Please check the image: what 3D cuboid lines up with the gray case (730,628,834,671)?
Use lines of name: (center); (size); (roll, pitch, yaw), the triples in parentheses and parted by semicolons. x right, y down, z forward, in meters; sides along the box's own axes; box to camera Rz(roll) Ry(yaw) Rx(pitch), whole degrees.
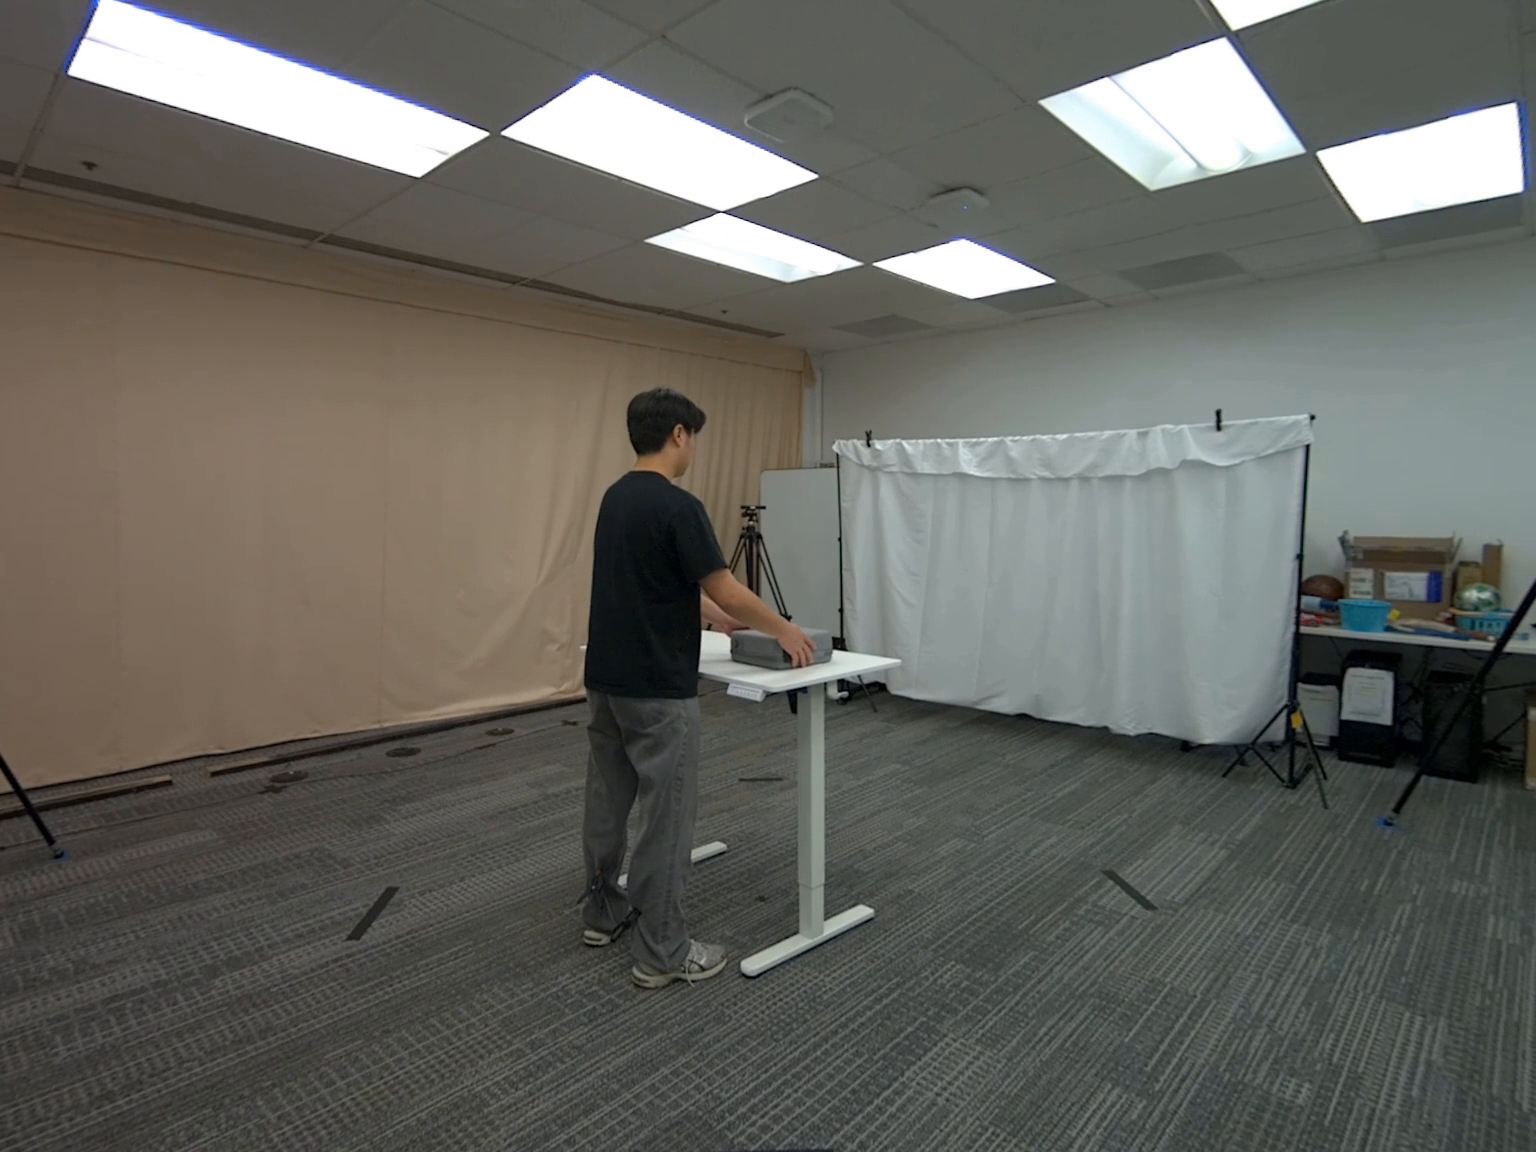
gray case: (0.042, 0.228, 2.748); (0.255, 0.103, 0.296); (-4, 5, -41)
